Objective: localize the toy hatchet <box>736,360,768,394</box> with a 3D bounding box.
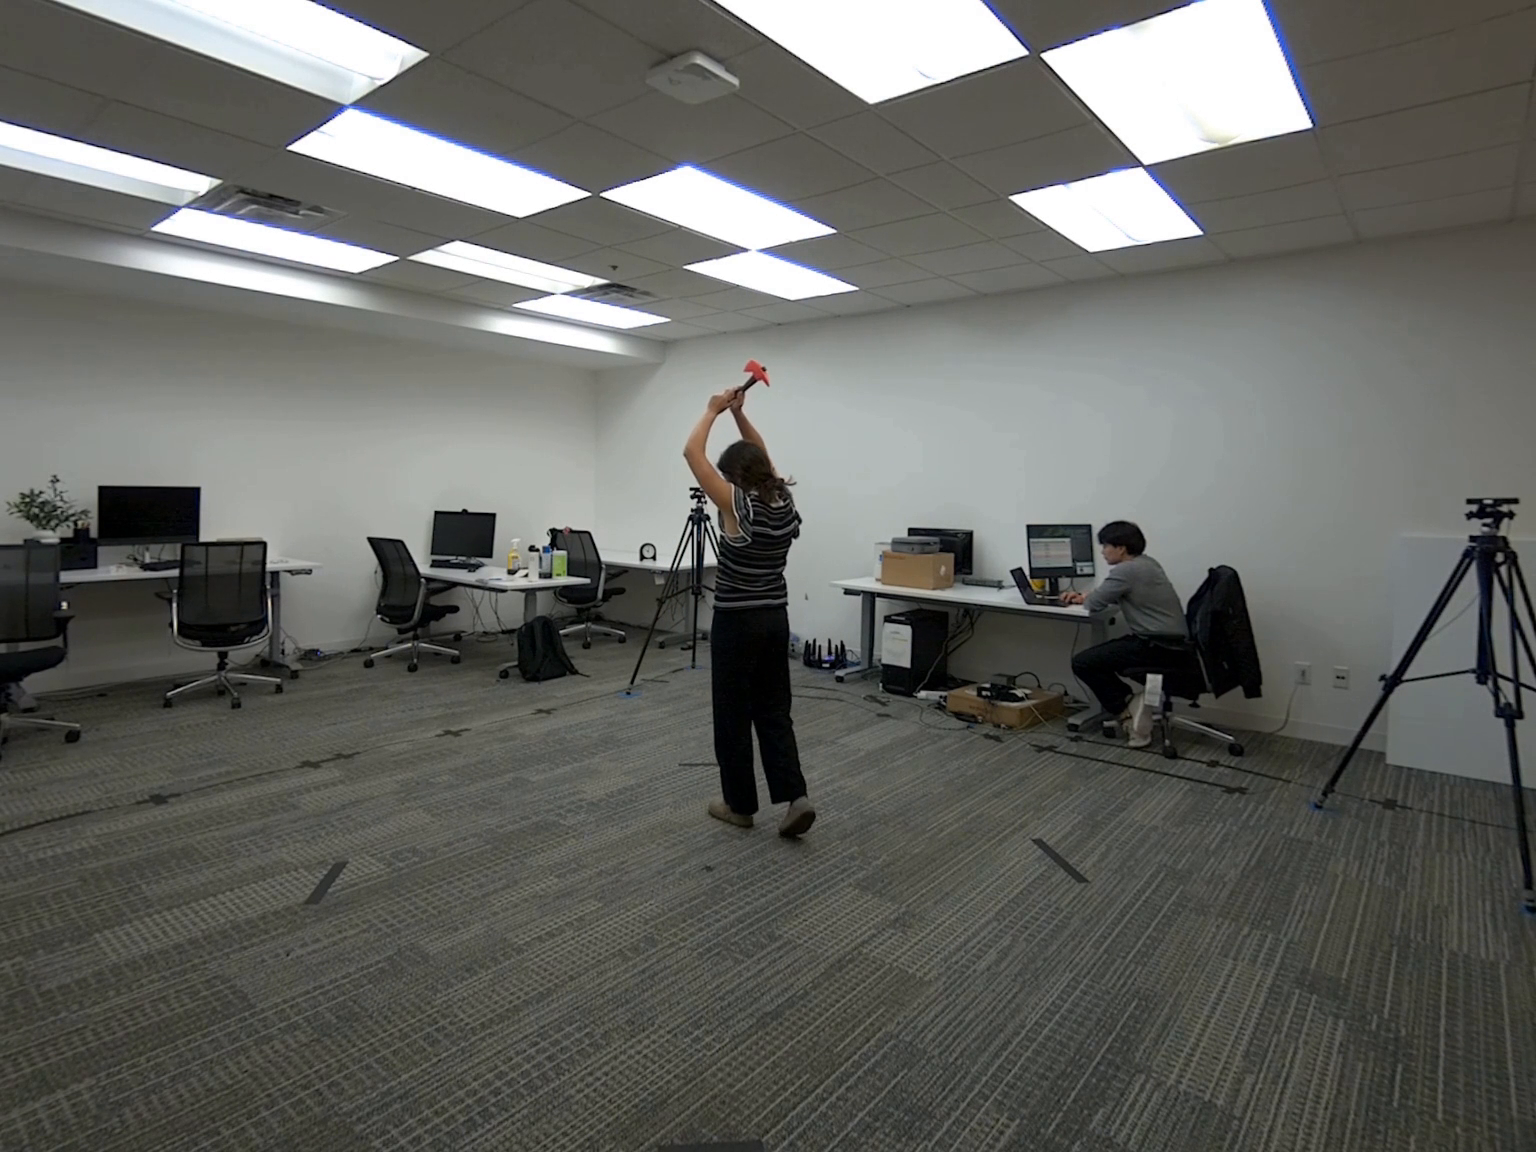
[{"bbox_3d":[-0.131,-0.795,3.461,0.275,0.130,0.029,-15,4,31],"label":"toy hatchet"}]
